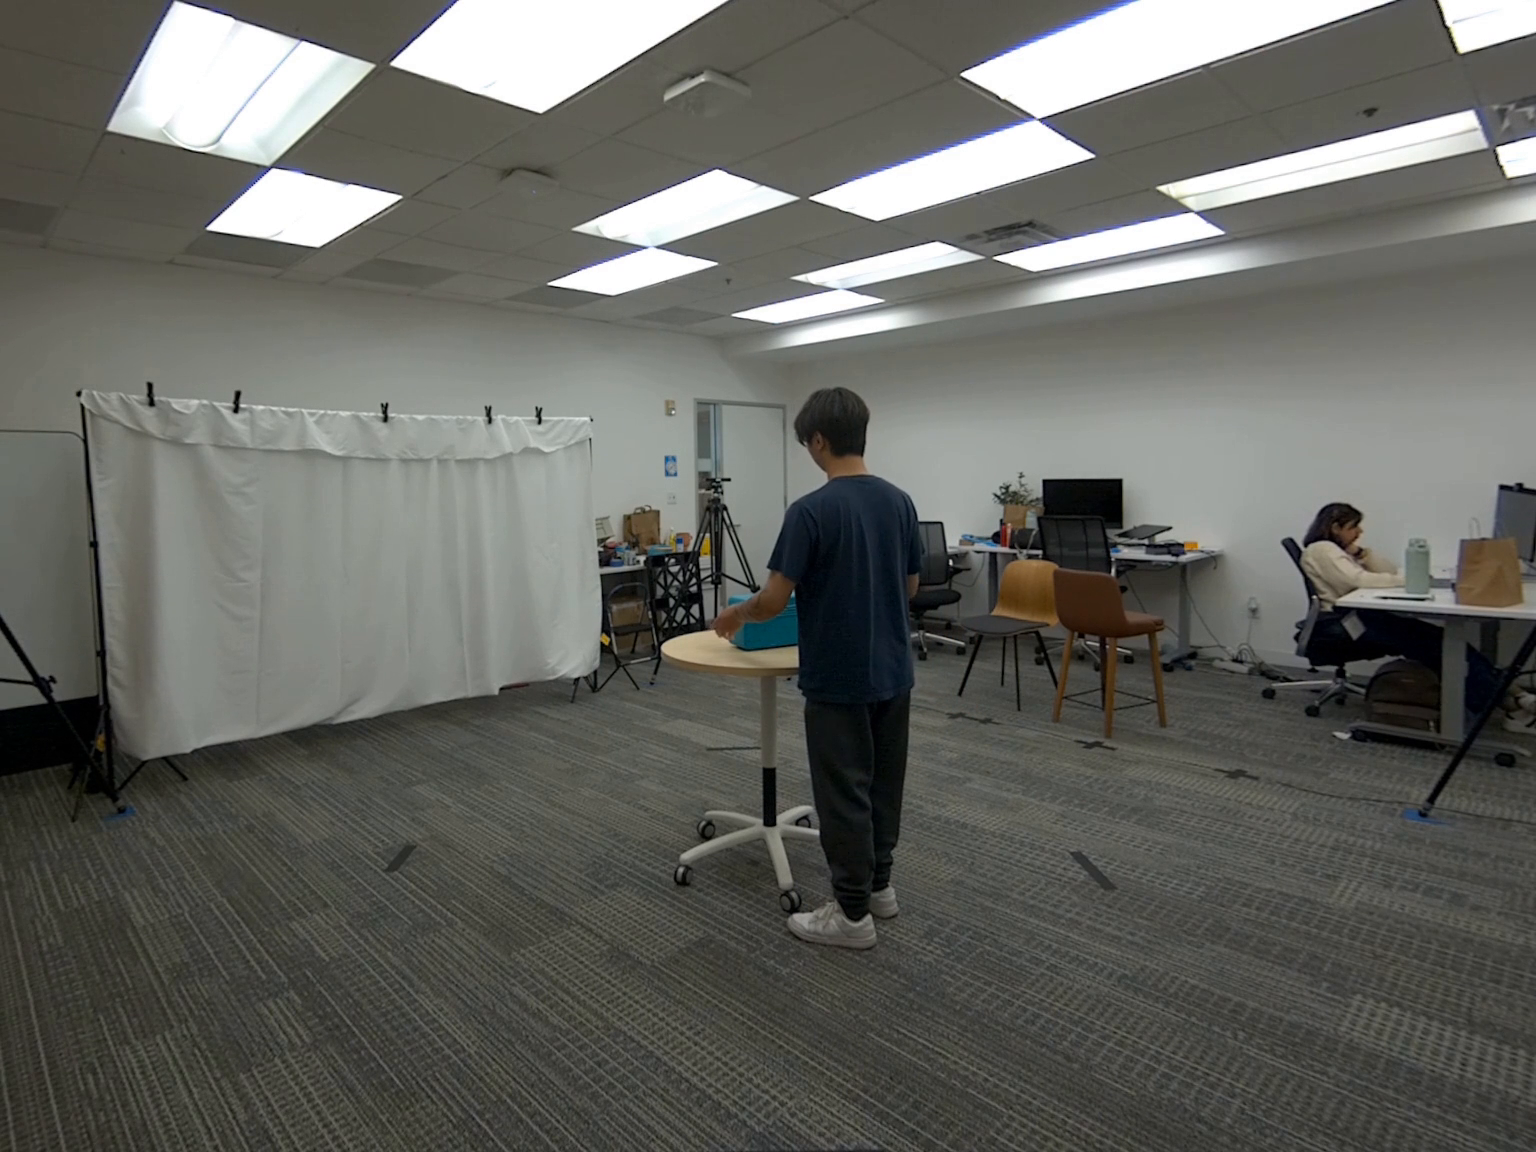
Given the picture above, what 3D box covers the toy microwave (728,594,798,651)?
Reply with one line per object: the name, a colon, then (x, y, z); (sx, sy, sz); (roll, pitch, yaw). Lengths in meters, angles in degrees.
toy microwave: (0.001, 0.154, 3.055); (0.280, 0.183, 0.156); (-4, 5, -25)
